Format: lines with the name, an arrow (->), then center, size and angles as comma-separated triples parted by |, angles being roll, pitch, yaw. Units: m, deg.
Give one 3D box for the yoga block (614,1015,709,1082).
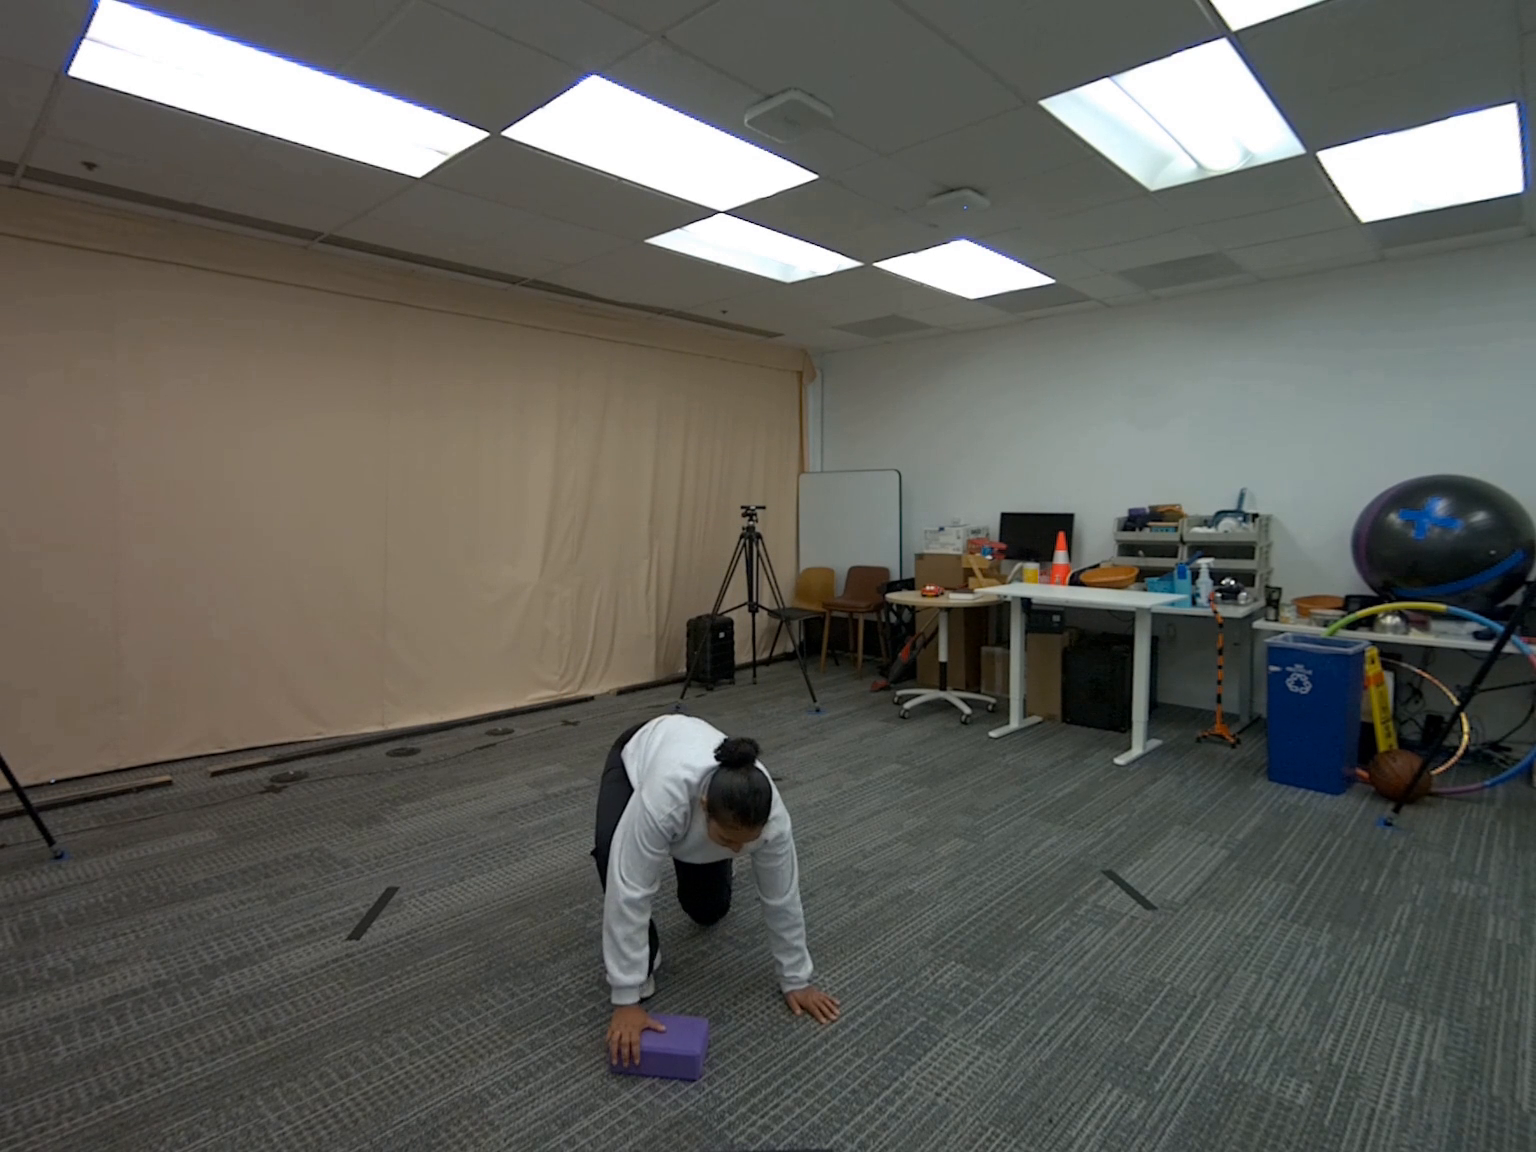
yoga block -> -0.271, 1.172, 2.122 | 0.231, 0.076, 0.148 | -1, 5, 8
